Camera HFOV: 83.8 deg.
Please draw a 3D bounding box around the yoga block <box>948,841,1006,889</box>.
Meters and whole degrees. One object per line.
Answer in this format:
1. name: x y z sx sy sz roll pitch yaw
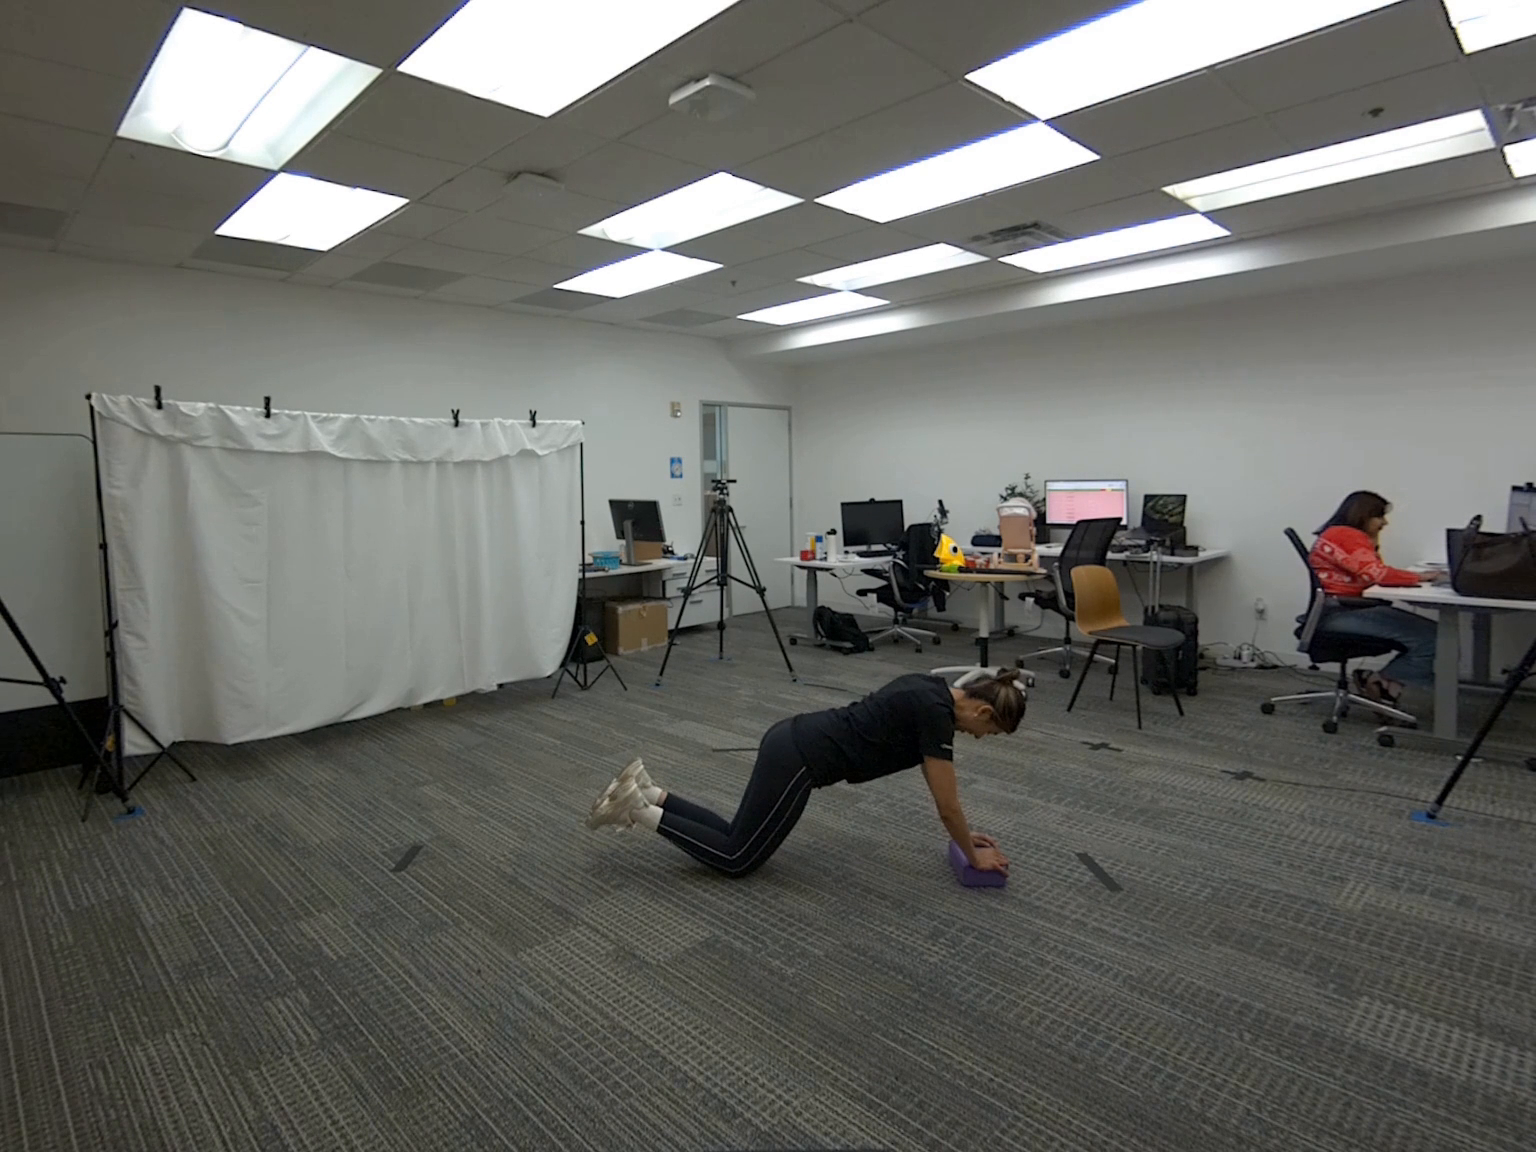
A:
1. yoga block: 0.730 0.994 3.003 0.149 0.076 0.230 3 6 0
